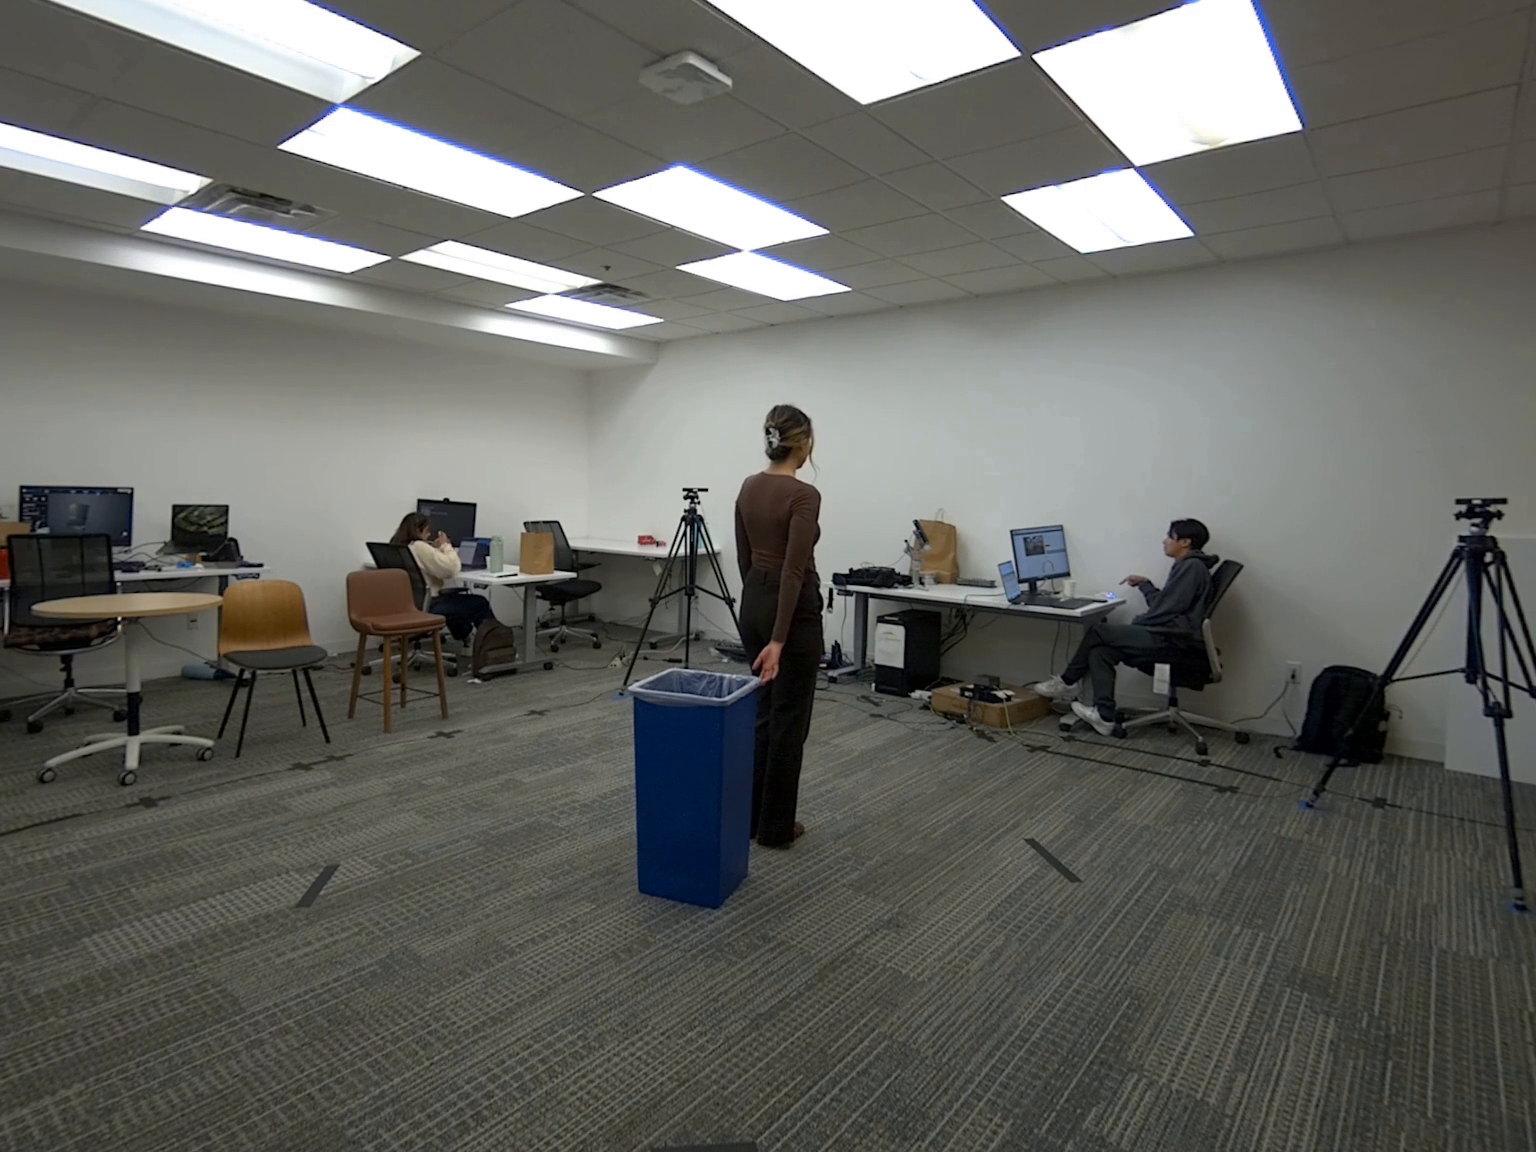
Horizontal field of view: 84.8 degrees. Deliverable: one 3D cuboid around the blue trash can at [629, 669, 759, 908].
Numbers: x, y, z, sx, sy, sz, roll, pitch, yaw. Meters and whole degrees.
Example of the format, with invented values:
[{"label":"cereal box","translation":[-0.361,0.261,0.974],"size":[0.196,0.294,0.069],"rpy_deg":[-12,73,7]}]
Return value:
[{"label":"blue trash can","translation":[-0.260,0.722,2.985],"size":[0.382,0.712,0.371],"rpy_deg":[1,3,21]}]
